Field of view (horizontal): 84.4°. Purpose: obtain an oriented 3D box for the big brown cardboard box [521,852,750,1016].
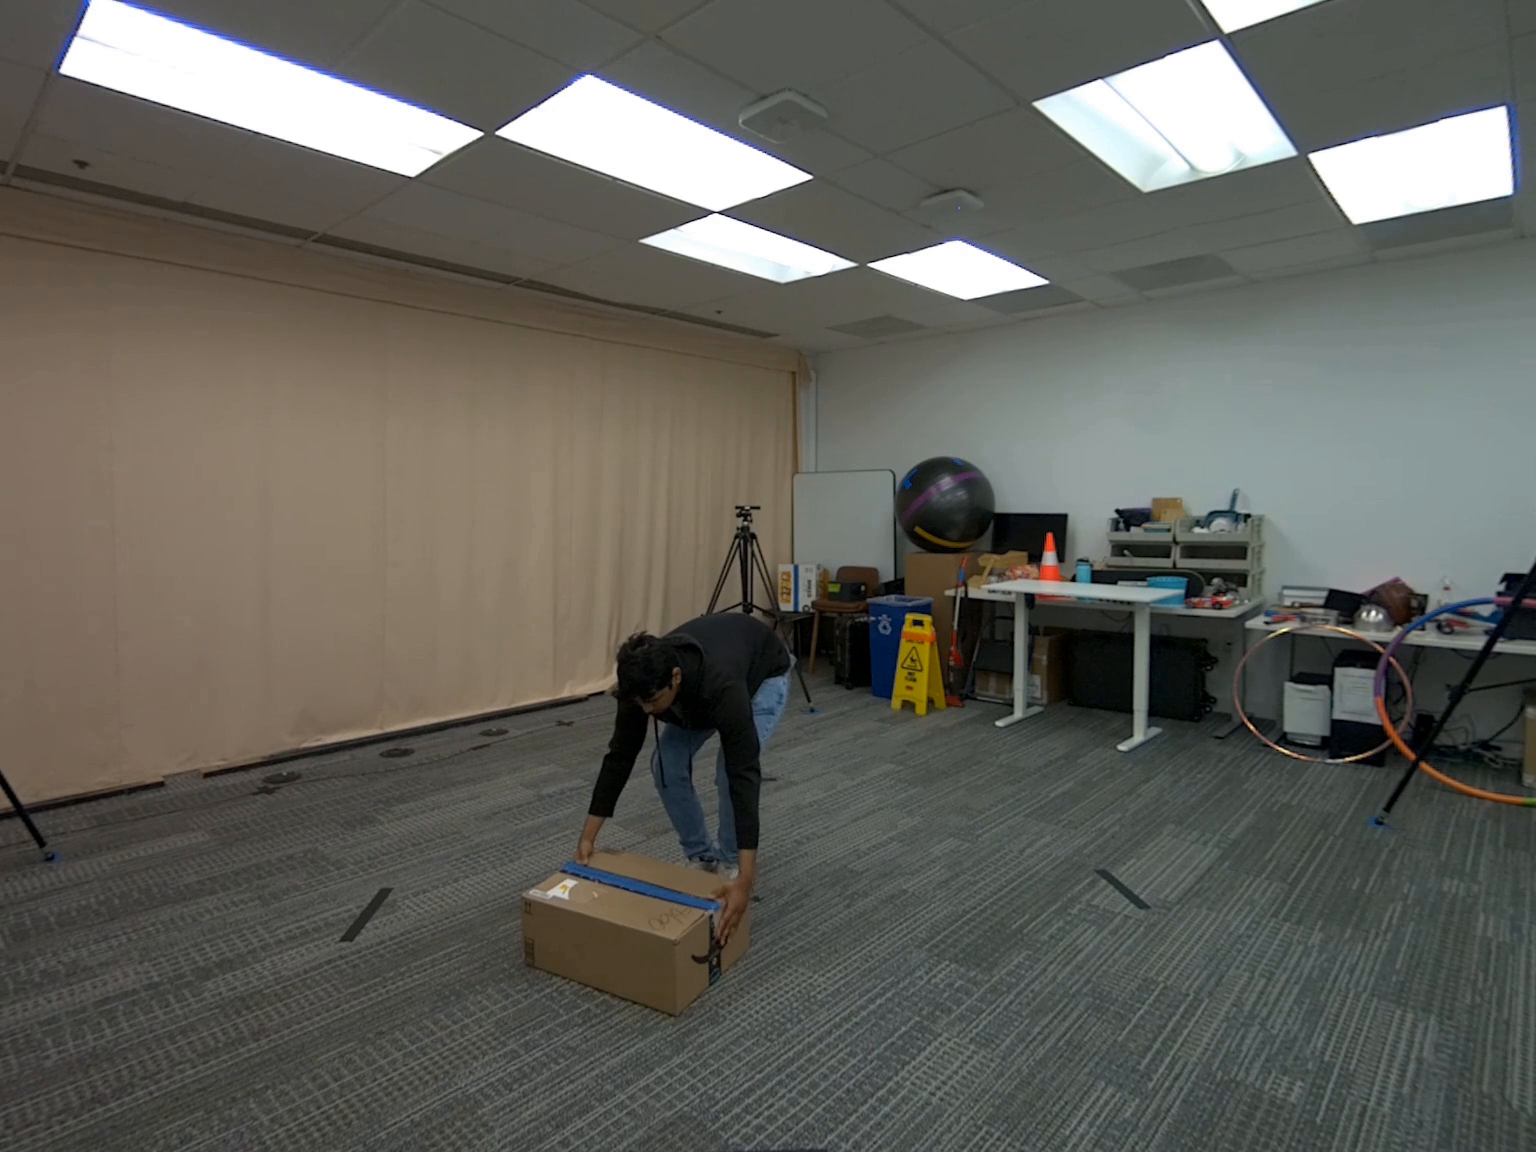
[{"bbox_3d":[-0.410,1.064,2.603,0.606,0.232,0.407,3,5,28],"label":"big brown cardboard box"}]
